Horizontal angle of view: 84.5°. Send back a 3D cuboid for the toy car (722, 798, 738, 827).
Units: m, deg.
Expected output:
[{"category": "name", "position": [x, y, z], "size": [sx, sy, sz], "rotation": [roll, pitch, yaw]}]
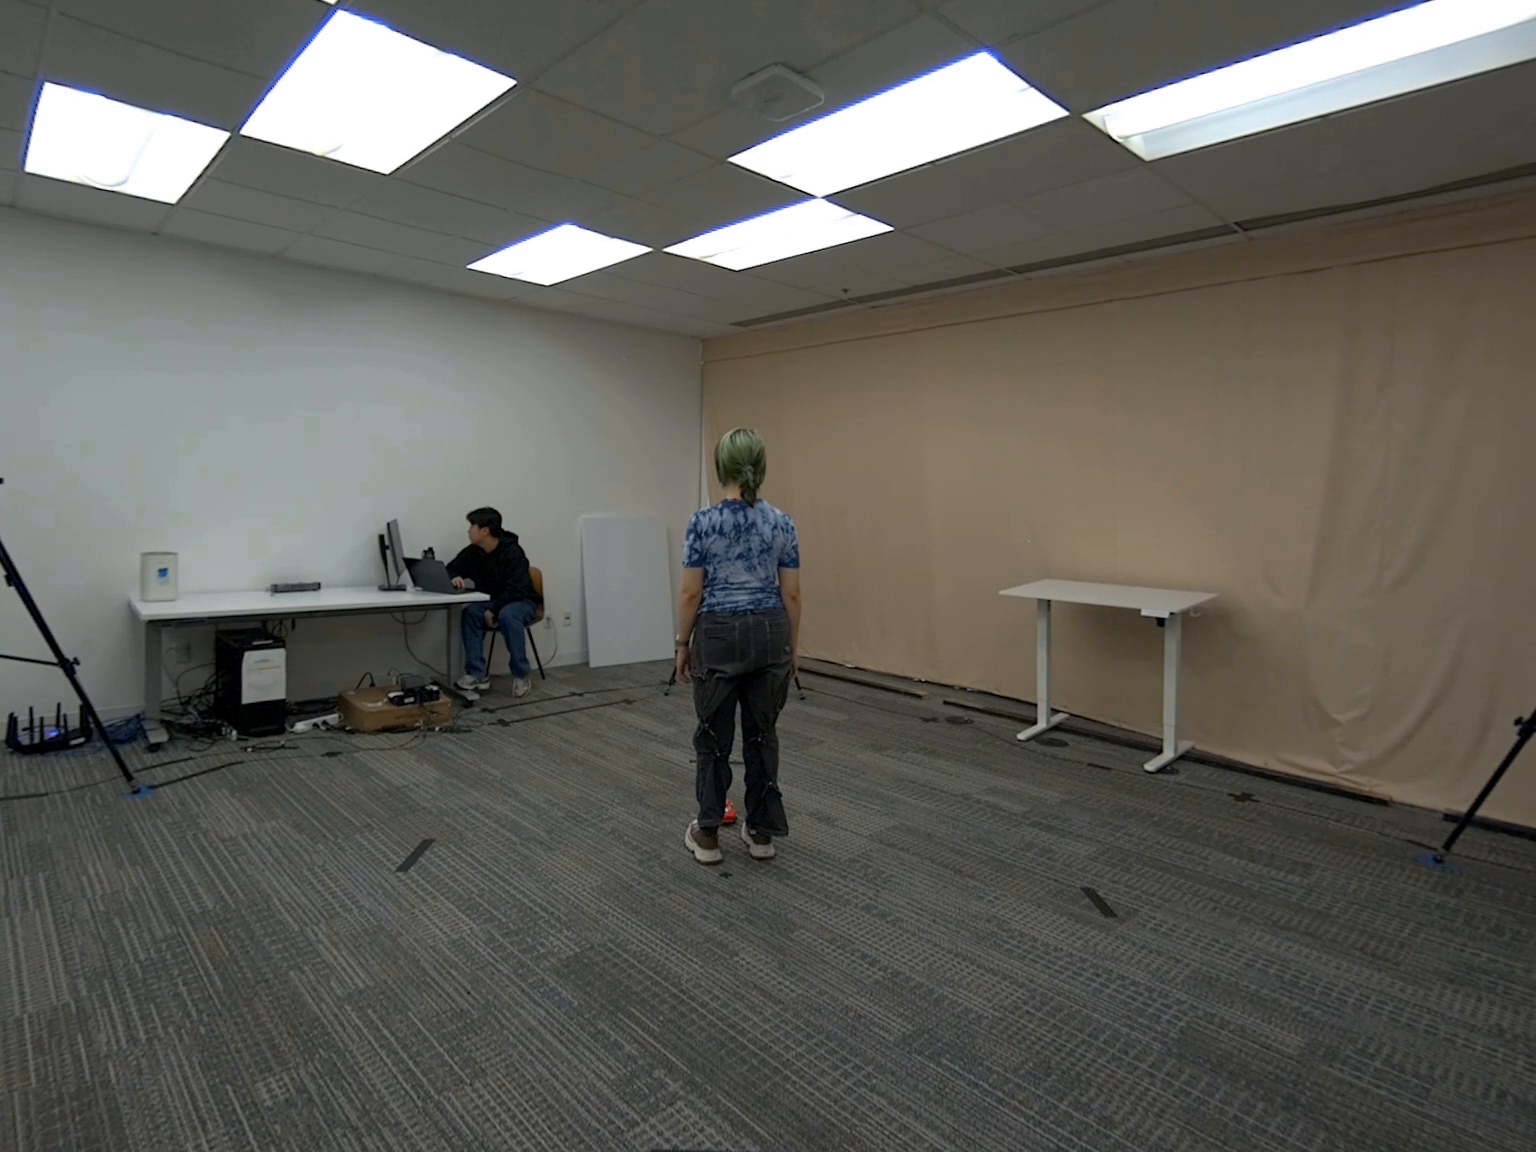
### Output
[{"category": "toy car", "position": [-0.210, 1.022, 3.663], "size": [0.129, 0.083, 0.255], "rotation": [3, -5, -8]}]
